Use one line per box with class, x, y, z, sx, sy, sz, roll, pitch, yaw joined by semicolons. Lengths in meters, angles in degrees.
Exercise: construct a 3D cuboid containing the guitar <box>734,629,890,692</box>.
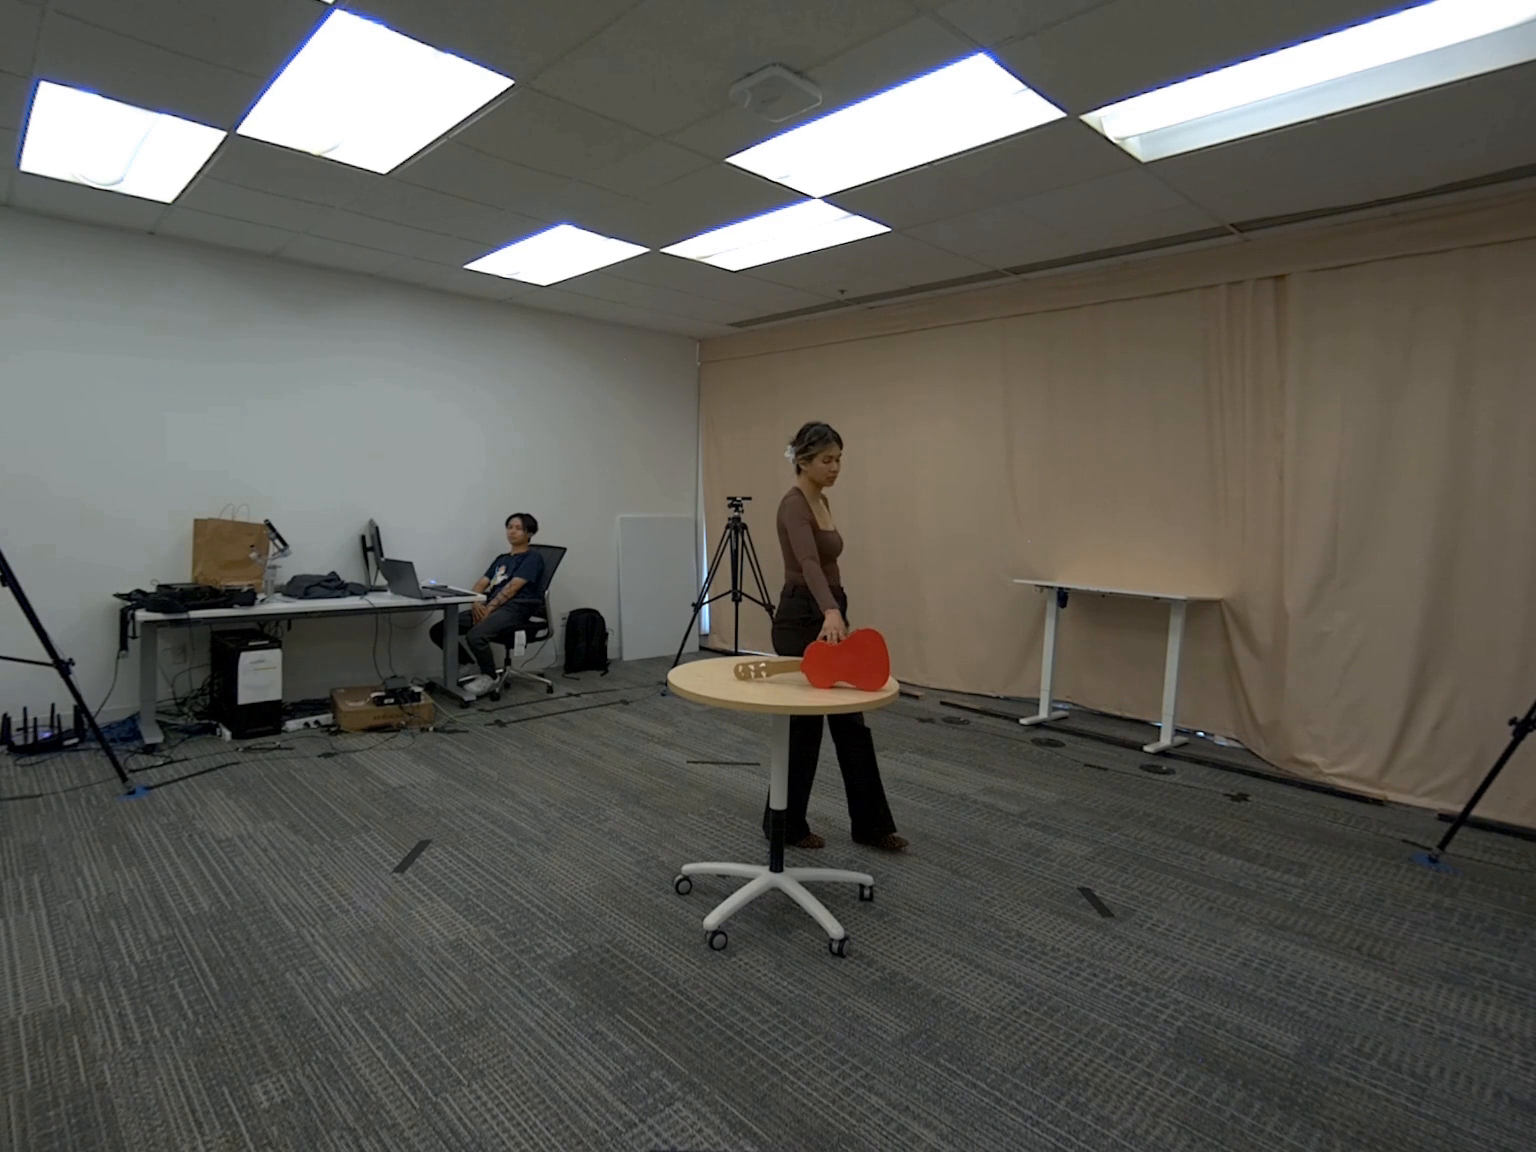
guitar;0.126;0.311;2.698;0.501;0.193;0.070;-16;-1;10
